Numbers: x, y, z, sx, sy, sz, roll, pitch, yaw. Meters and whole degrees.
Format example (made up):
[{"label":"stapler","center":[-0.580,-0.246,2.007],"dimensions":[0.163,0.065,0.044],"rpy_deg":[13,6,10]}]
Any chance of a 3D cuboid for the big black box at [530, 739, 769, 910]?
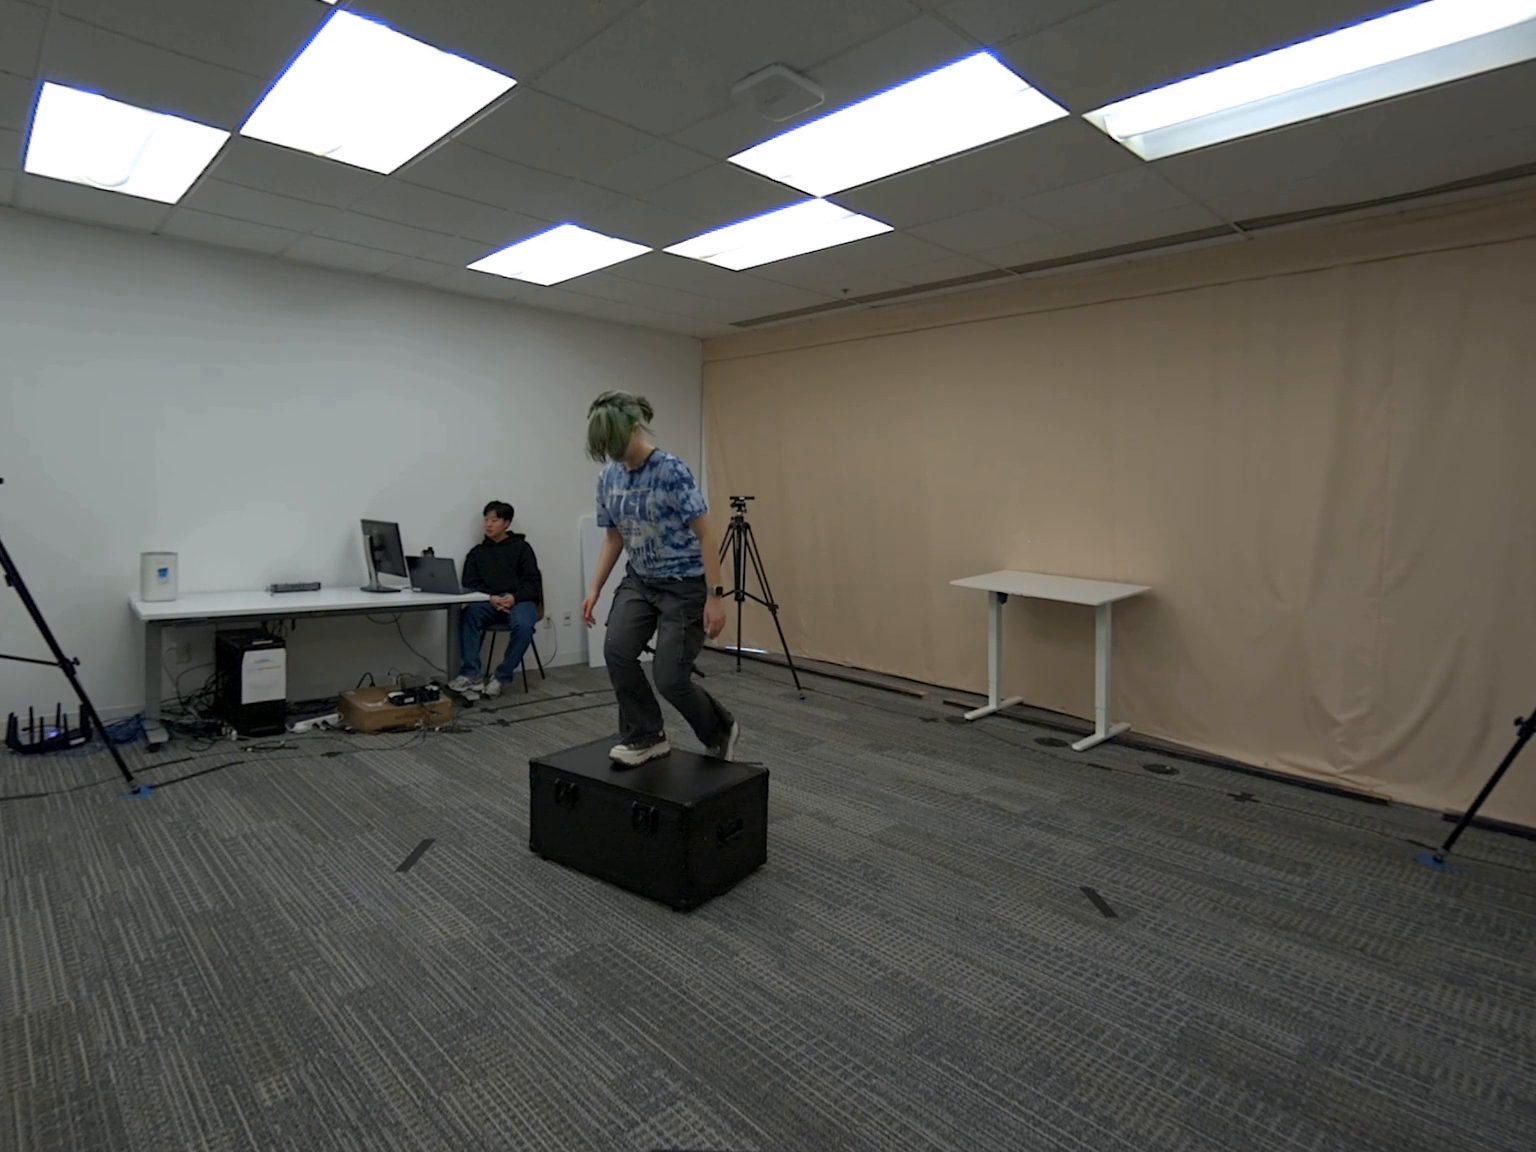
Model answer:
[{"label":"big black box","center":[-0.488,0.898,3.205],"dimensions":[0.882,0.395,0.510],"rpy_deg":[5,6,35]}]
